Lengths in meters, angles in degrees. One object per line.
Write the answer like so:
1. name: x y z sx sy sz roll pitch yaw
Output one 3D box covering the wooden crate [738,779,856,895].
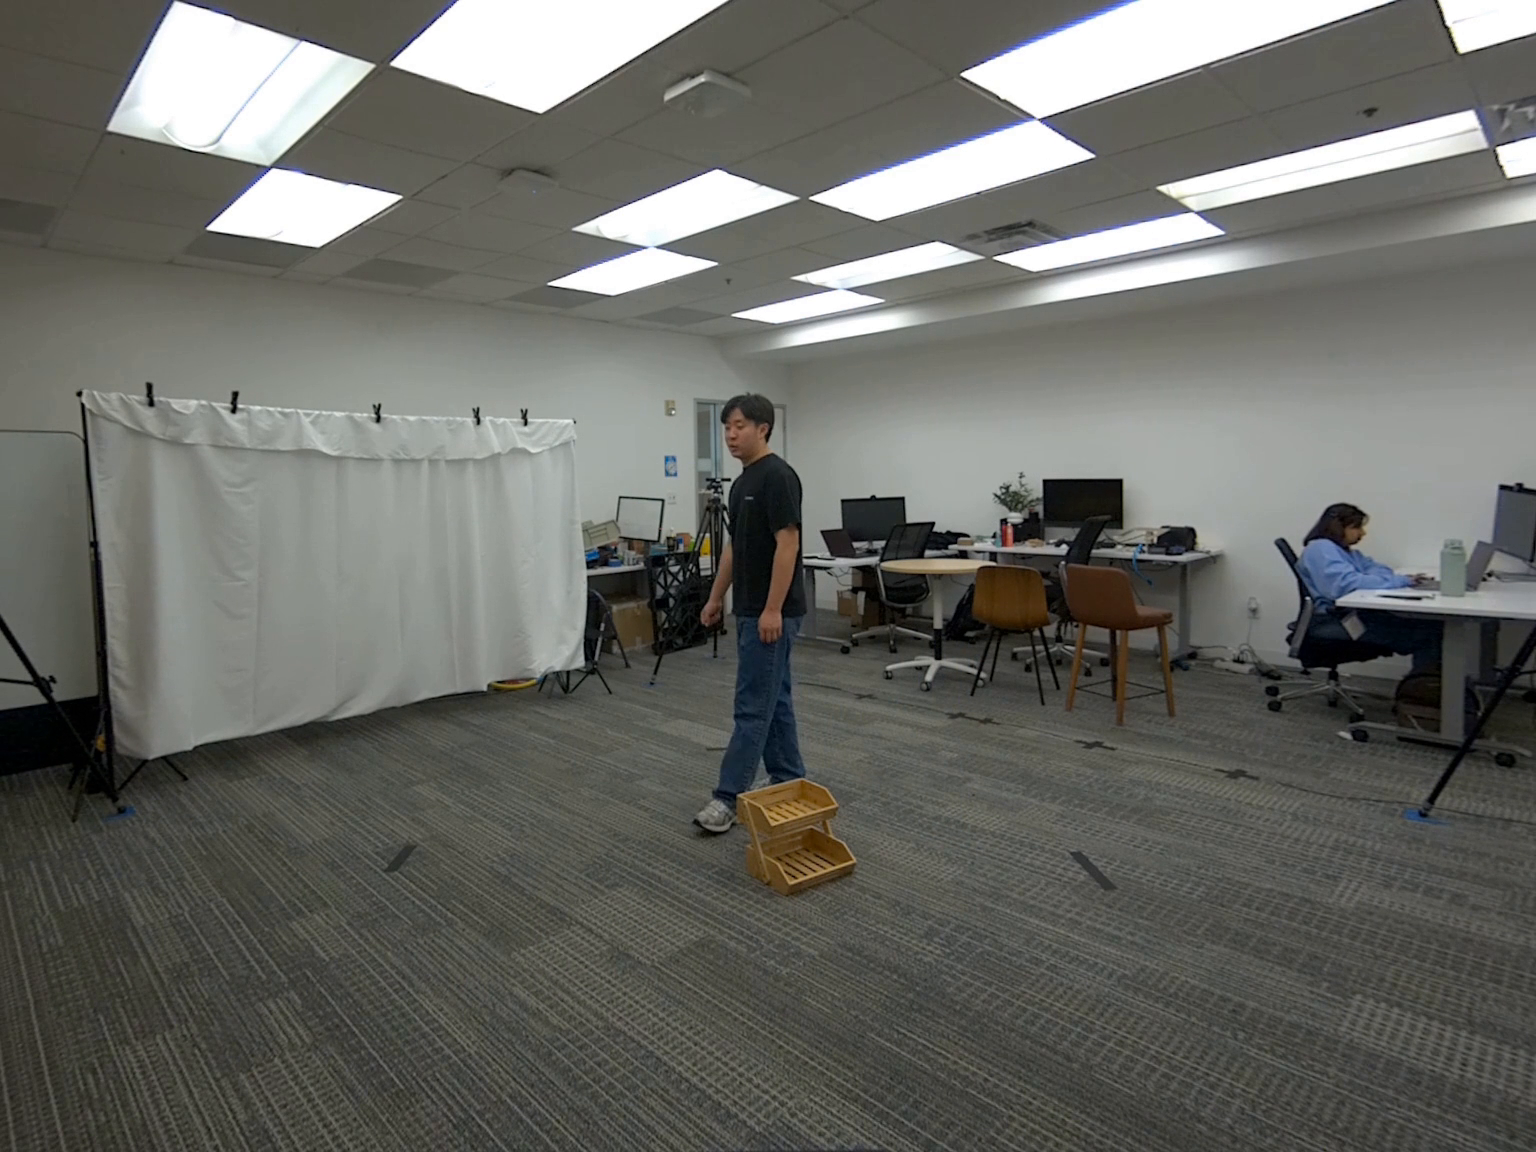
1. wooden crate: 0.101 0.918 3.037 0.316 0.272 0.311 -4 6 -35
